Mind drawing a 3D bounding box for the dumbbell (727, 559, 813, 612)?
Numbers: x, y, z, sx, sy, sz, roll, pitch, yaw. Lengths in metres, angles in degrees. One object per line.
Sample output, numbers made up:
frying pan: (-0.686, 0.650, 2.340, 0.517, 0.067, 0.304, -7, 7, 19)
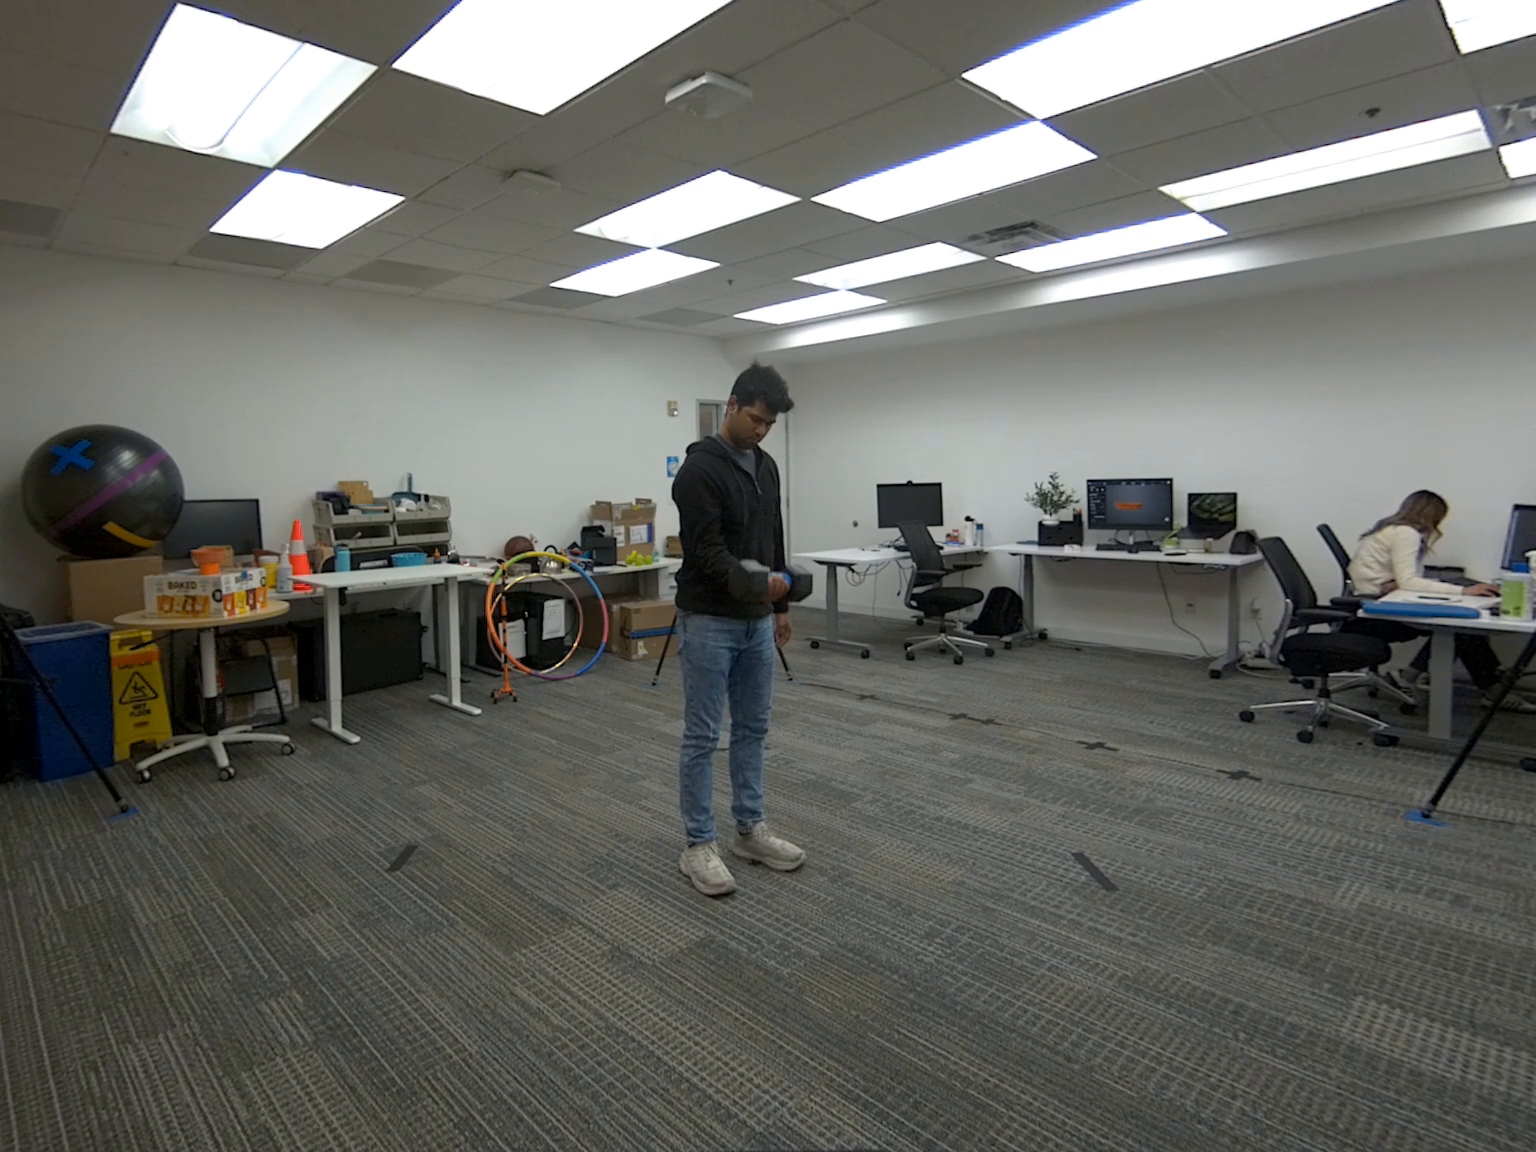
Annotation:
dumbbell: (0.002, 0.017, 2.666, 0.284, 0.108, 0.128, 5, 24, -46)
